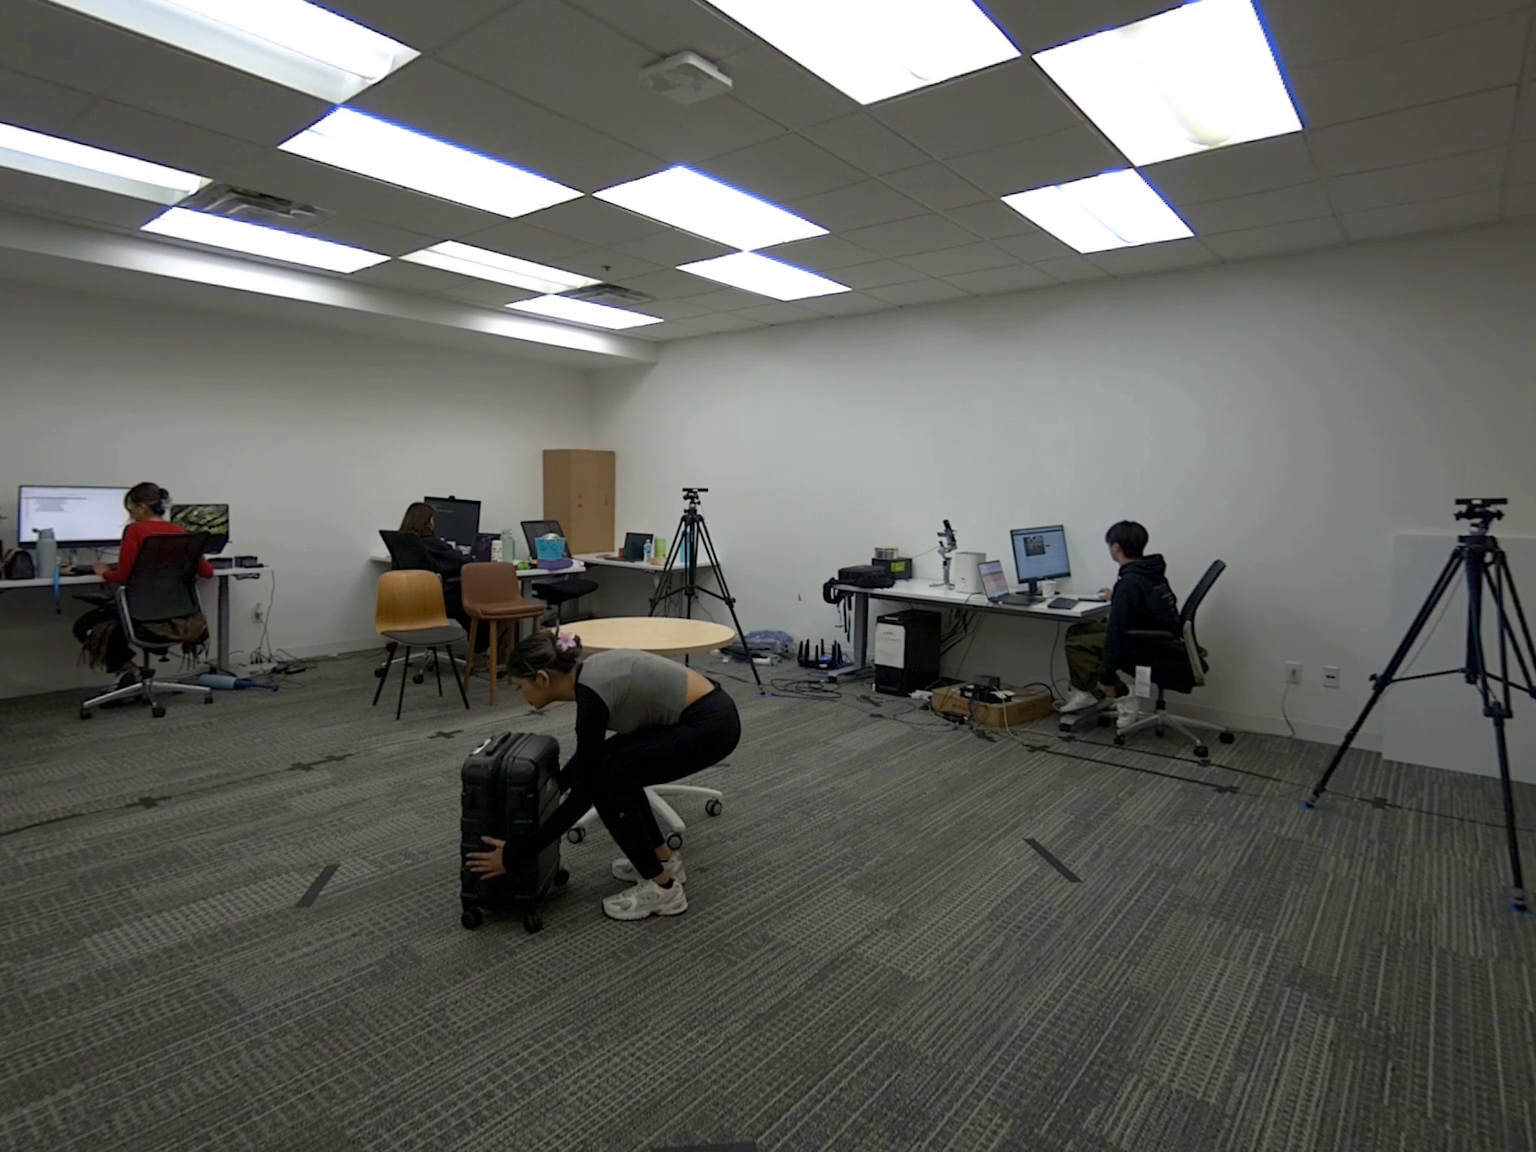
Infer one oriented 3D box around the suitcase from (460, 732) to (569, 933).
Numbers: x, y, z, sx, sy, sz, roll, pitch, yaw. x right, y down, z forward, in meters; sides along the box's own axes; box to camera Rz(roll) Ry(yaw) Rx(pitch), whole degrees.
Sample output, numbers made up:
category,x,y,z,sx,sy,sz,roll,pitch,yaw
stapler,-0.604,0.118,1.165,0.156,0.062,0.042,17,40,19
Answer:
category,x,y,z,sx,sy,sz,roll,pitch,yaw
suitcase,-0.858,0.817,2.820,0.249,0.548,0.374,0,3,3
